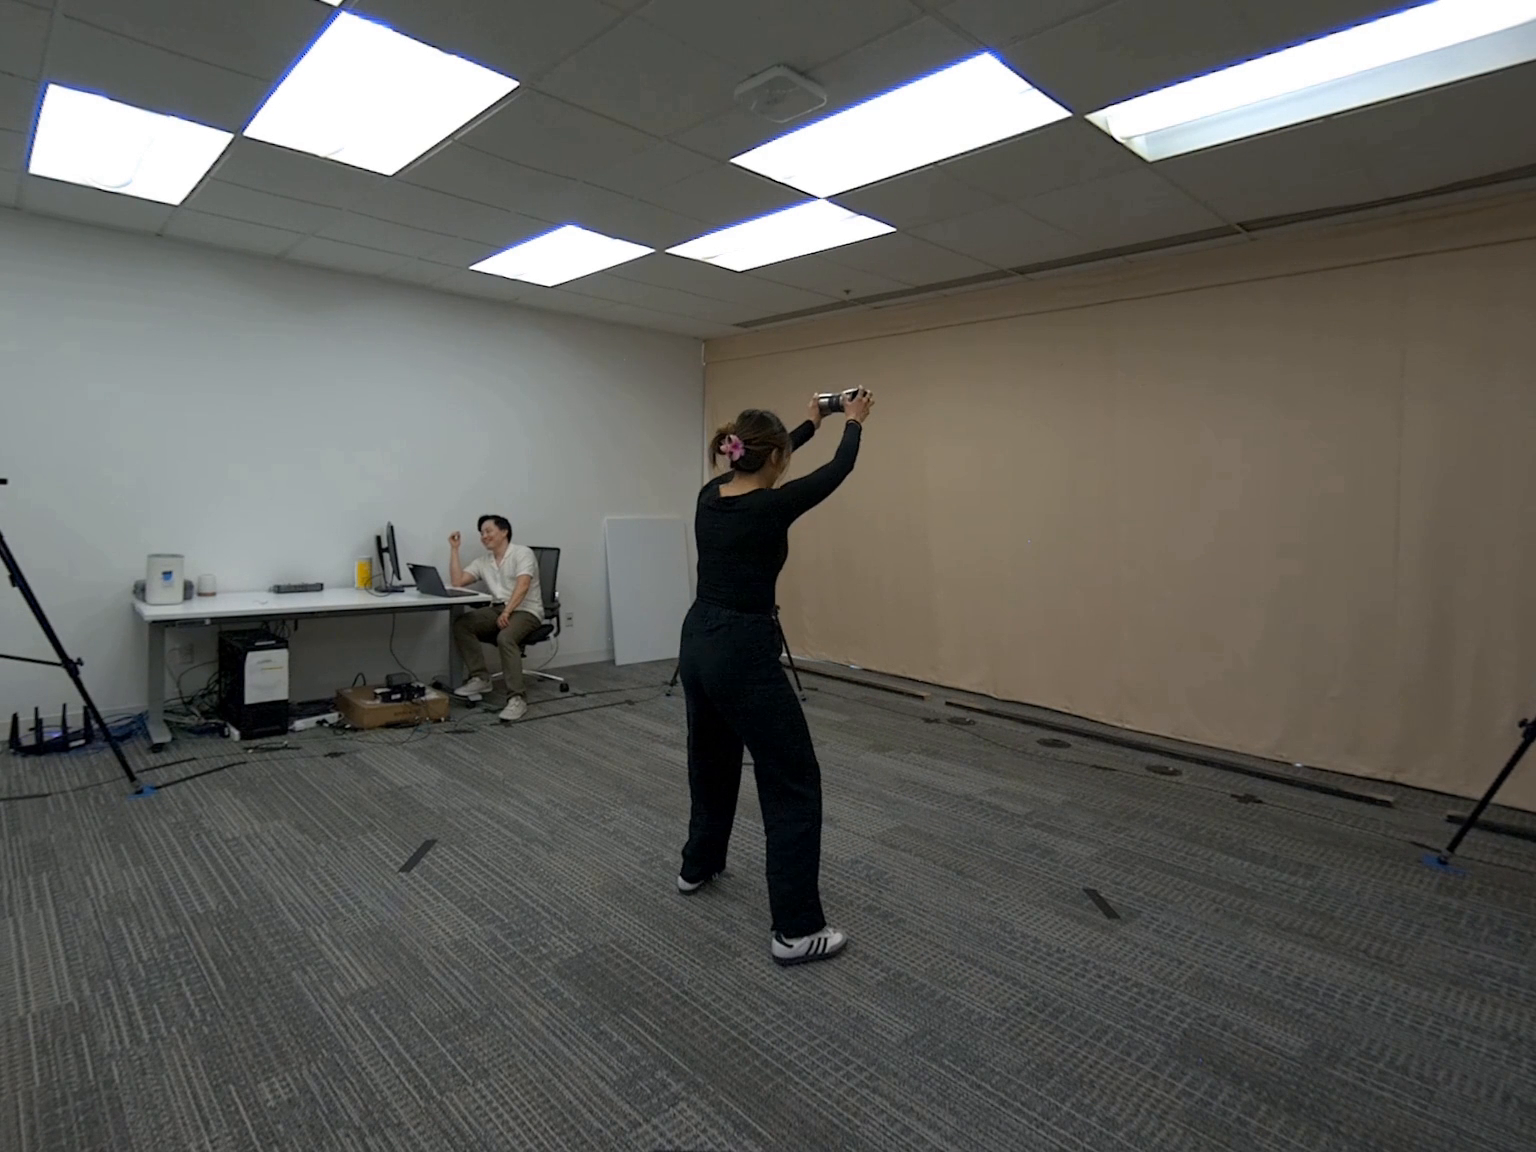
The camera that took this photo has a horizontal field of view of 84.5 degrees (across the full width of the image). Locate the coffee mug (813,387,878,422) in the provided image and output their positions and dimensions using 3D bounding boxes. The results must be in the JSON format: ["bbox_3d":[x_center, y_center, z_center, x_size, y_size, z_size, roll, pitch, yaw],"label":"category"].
[{"bbox_3d":[0.279,-0.623,3.068,0.119,0.088,0.208,-2,3,-38],"label":"coffee mug"}]
